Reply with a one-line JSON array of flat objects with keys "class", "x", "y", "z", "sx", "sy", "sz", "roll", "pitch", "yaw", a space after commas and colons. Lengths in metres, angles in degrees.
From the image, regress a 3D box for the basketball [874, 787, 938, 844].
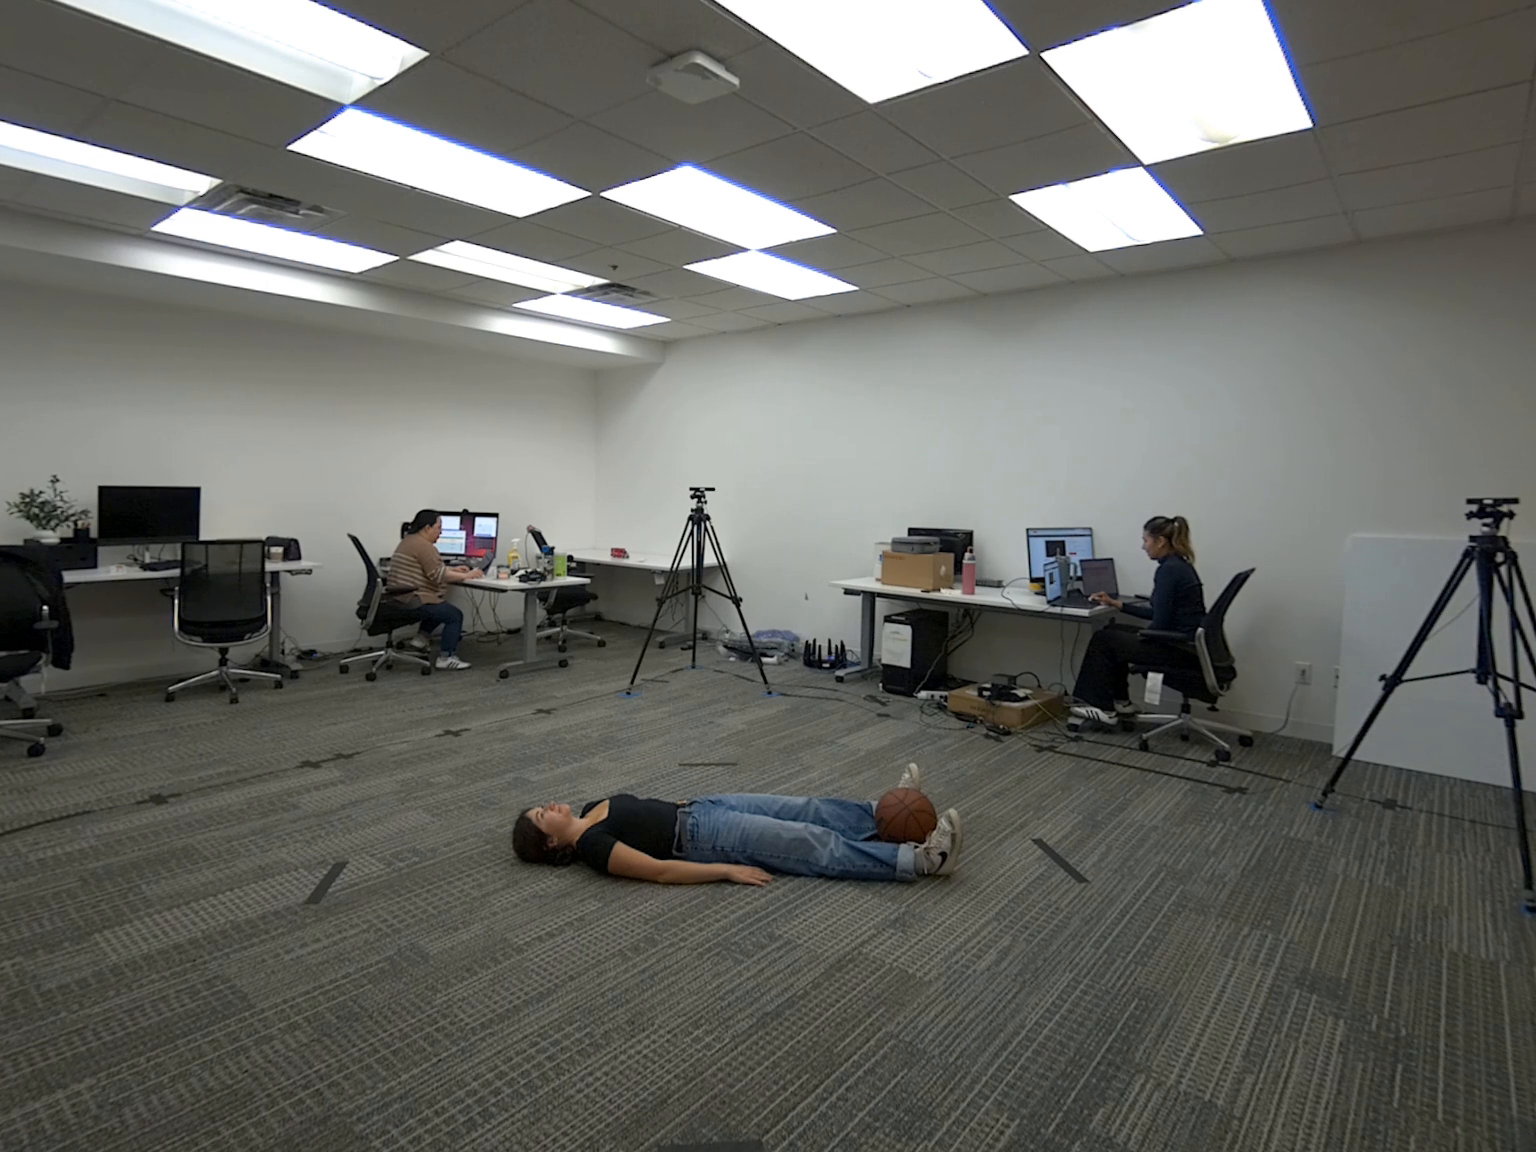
[{"class": "basketball", "x": 0.529, "y": 0.940, "z": 3.312, "sx": 0.235, "sy": 0.235, "sz": 0.237, "roll": 1, "pitch": 4, "yaw": -2}]
